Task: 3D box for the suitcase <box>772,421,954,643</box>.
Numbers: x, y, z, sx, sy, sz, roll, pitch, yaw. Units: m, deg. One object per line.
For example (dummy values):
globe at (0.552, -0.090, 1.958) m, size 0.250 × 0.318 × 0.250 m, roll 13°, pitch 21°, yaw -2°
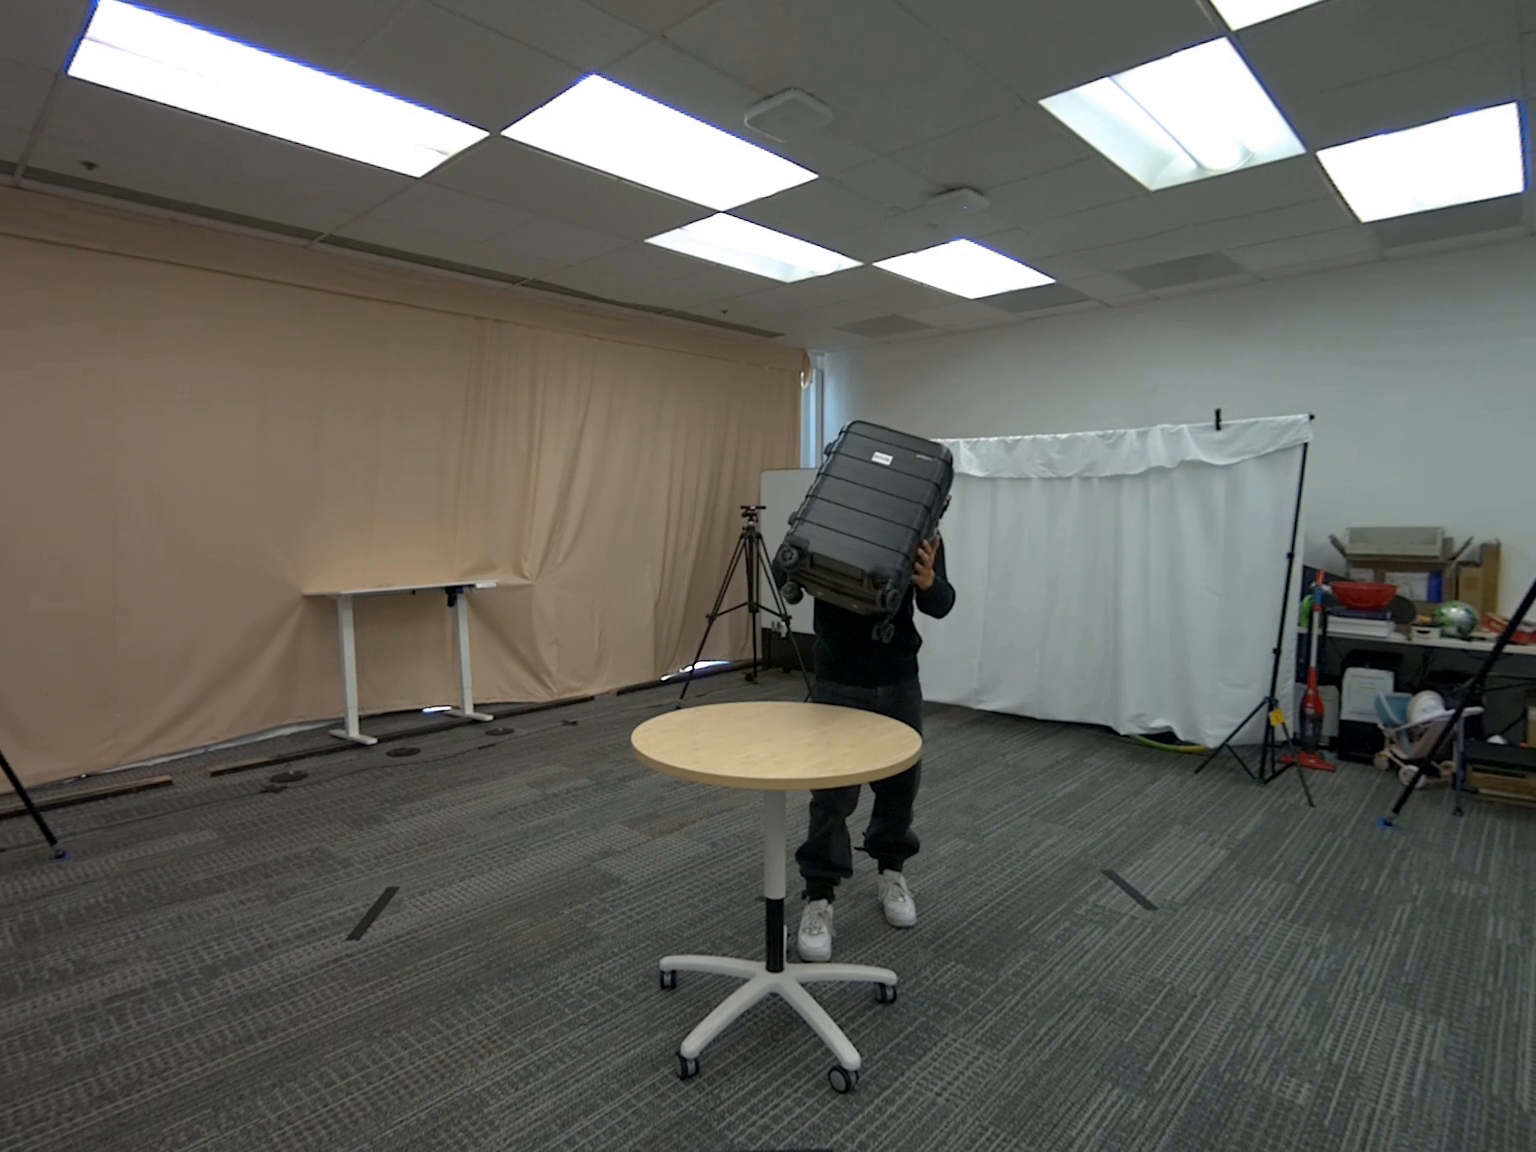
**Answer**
suitcase at (0.289, -0.155, 2.399) m, size 0.384 × 0.549 × 0.242 m, roll 21°, pitch -24°, yaw 20°
